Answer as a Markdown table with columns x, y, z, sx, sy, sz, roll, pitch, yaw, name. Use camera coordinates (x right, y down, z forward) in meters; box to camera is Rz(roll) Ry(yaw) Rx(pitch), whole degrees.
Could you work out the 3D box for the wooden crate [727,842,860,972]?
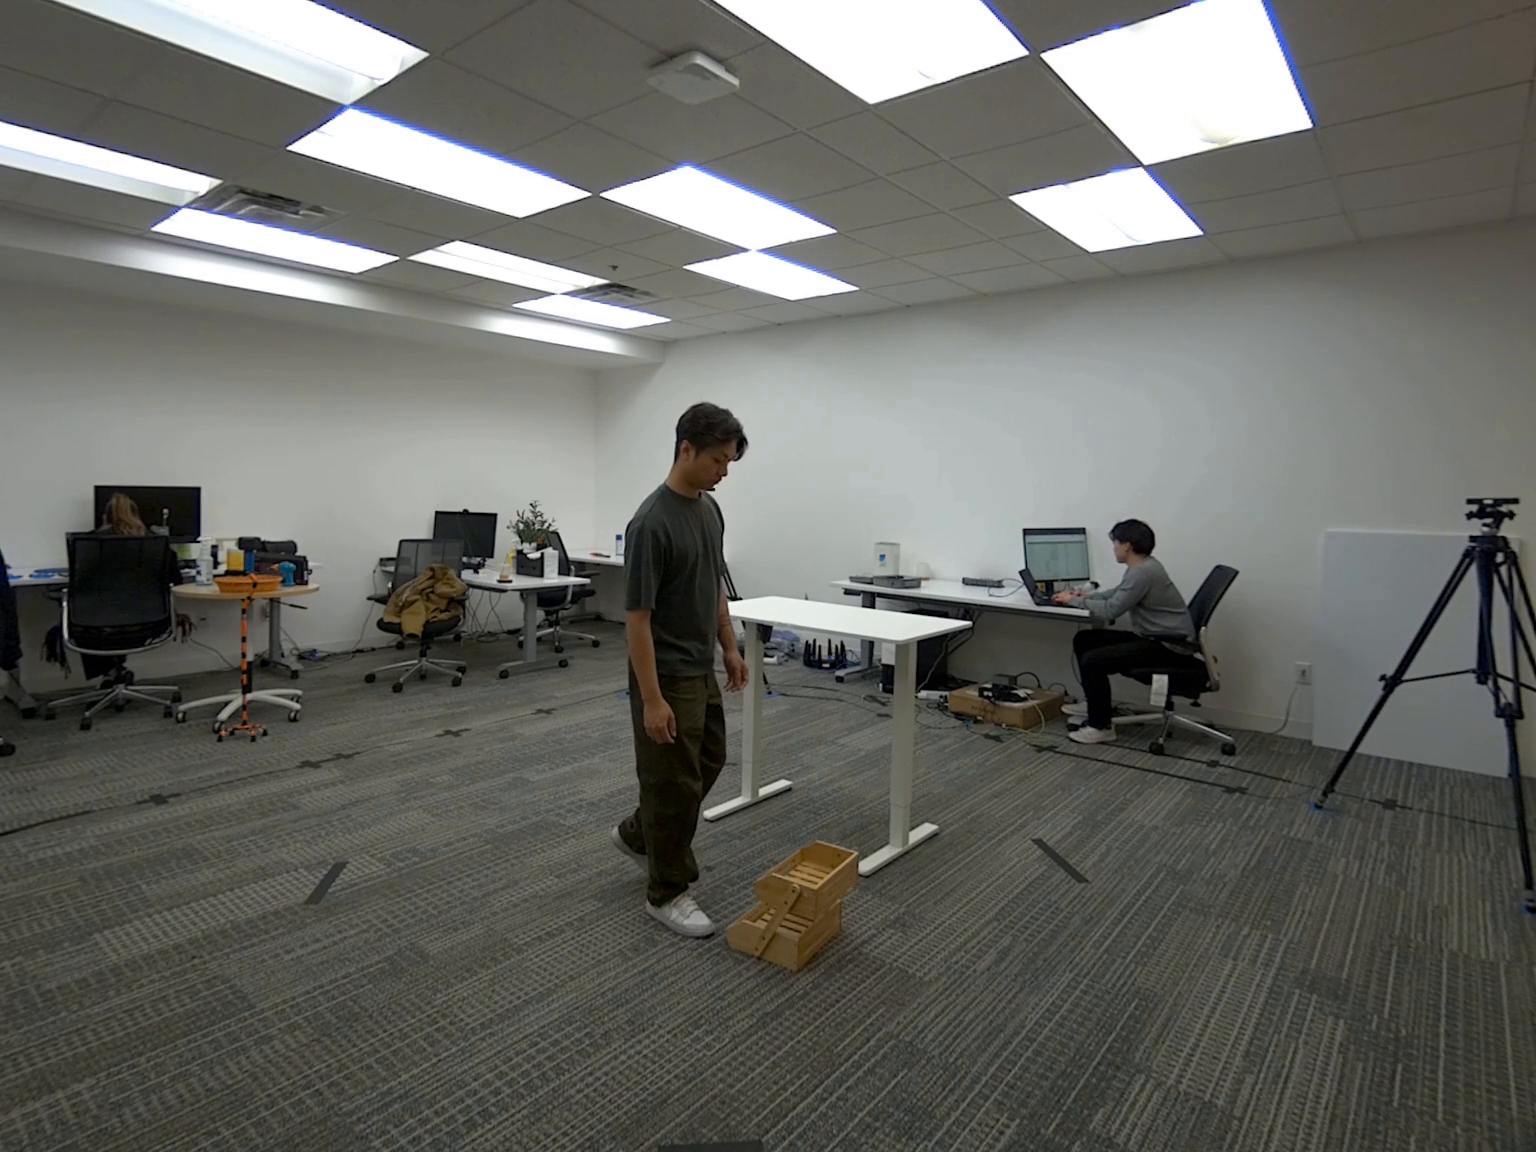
| x | y | z | sx | sy | sz | roll | pitch | yaw | name |
| --- | --- | --- | --- | --- | --- | --- | --- | --- | --- |
| 0.064 | 0.981 | 2.626 | 0.311 | 0.272 | 0.316 | 5 | 6 | 31 | wooden crate |
